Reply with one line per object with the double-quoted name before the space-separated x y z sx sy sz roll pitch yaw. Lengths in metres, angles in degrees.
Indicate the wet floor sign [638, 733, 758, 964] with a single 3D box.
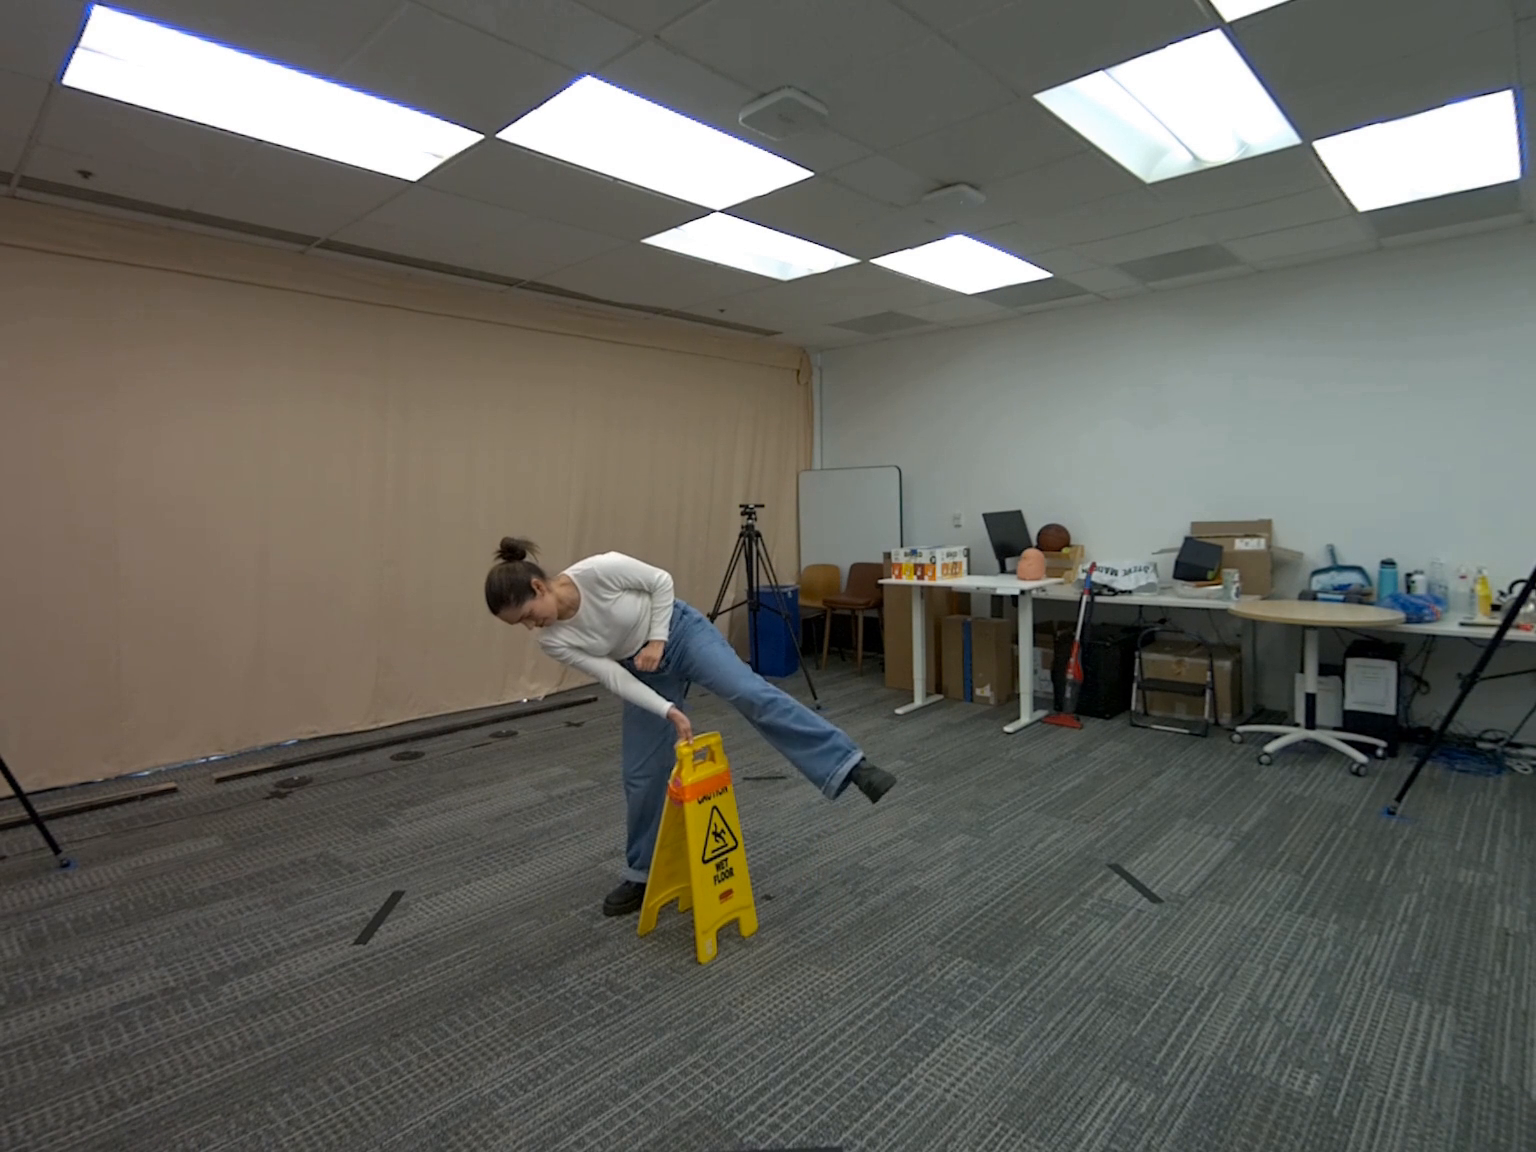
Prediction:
"wet floor sign" -0.224 0.840 2.719 0.299 0.644 0.274 3 4 38
